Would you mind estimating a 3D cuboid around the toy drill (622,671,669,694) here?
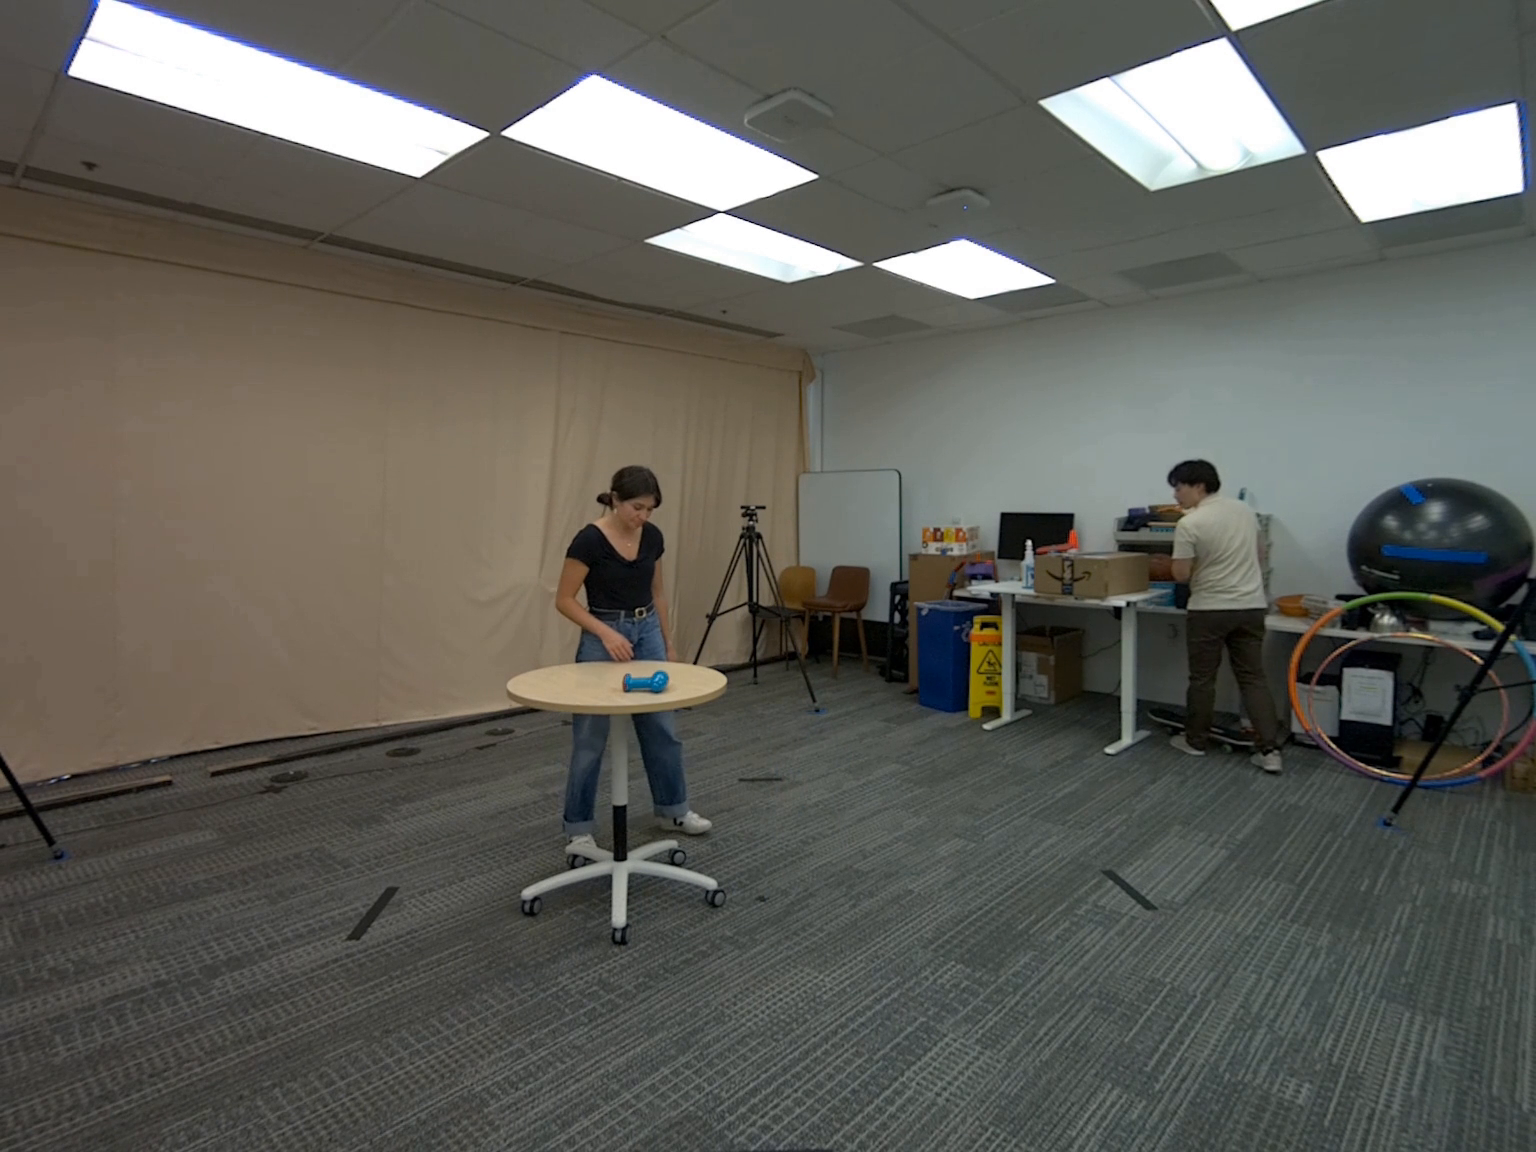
[{"bbox_3d":[-0.388,0.349,2.814,0.147,0.061,0.170,0,12,6],"label":"toy drill"}]
